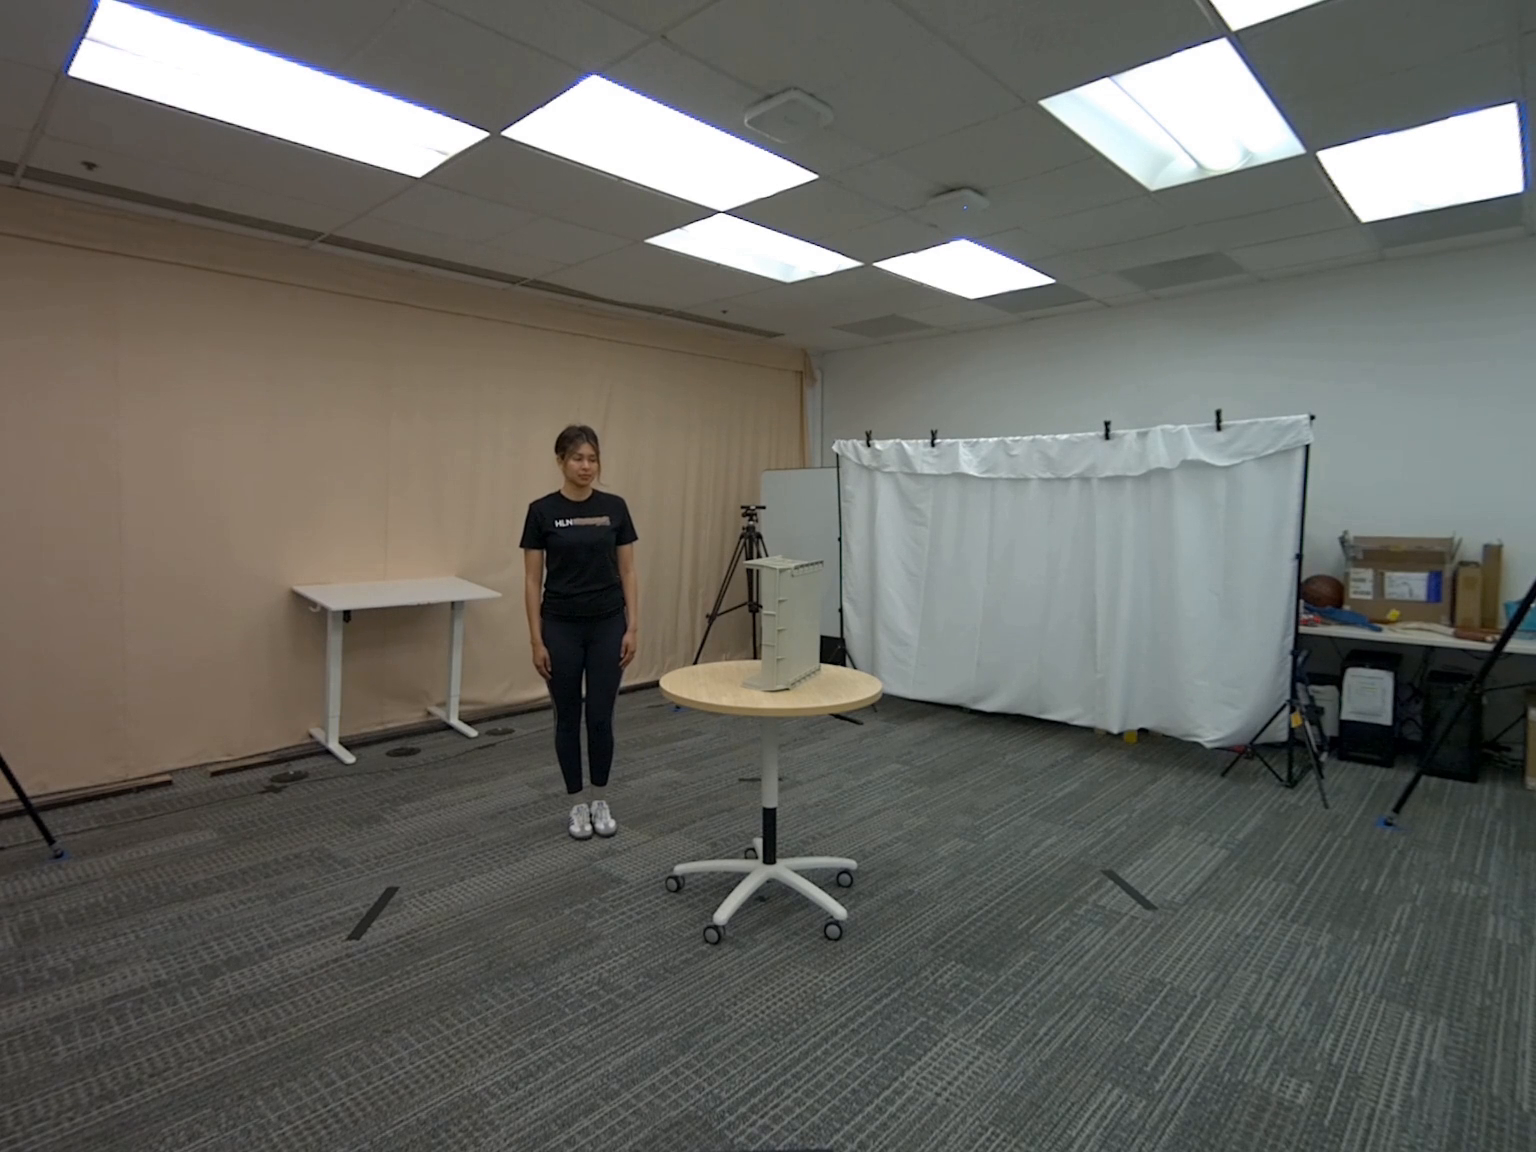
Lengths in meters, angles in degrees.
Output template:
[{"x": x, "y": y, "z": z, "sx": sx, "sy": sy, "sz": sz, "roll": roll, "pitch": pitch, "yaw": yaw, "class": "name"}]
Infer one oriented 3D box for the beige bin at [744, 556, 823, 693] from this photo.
[{"x": 0.052, "y": 0.155, "z": 2.917, "sx": 0.194, "sy": 0.421, "sz": 0.369, "roll": 3, "pitch": 5, "yaw": 24, "class": "beige bin"}]
